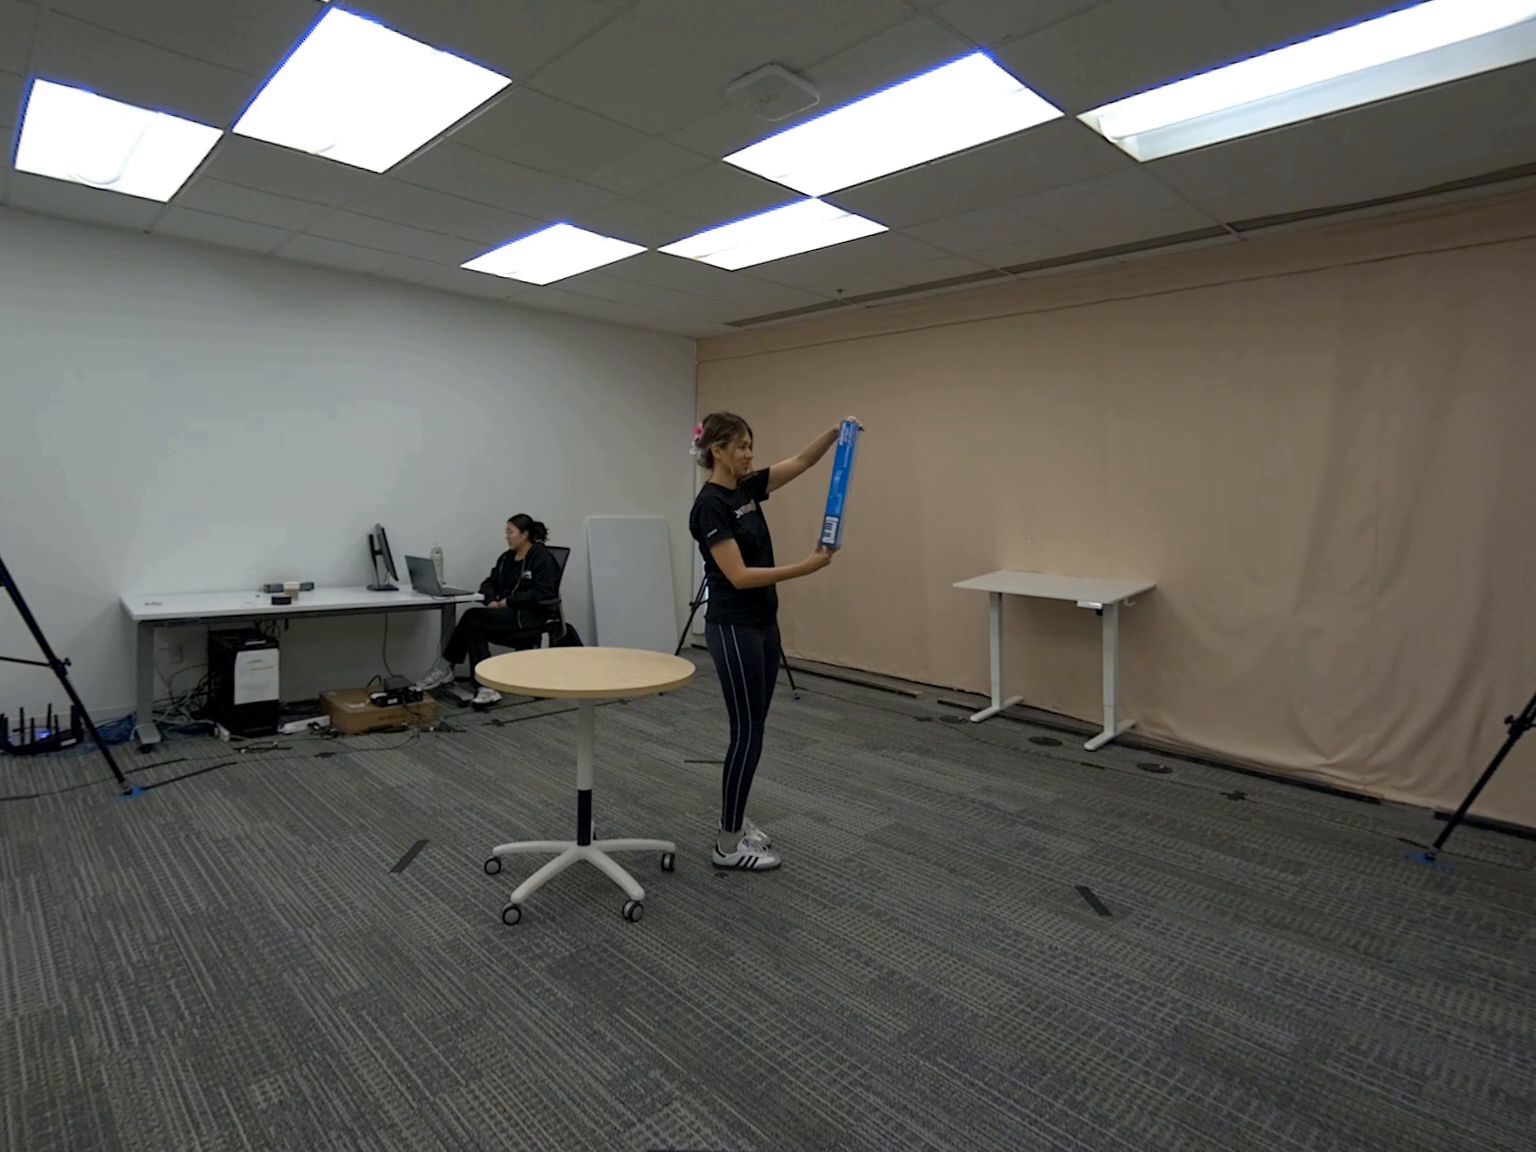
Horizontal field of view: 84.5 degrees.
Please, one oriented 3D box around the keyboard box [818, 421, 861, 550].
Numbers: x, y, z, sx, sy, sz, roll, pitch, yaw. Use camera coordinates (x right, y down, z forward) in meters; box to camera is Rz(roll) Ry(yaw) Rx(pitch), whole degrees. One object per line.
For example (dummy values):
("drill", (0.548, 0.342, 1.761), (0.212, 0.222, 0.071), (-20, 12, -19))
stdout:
("keyboard box", (0.255, -0.323, 3.006), (0.059, 0.436, 0.175), (10, 2, 7))
